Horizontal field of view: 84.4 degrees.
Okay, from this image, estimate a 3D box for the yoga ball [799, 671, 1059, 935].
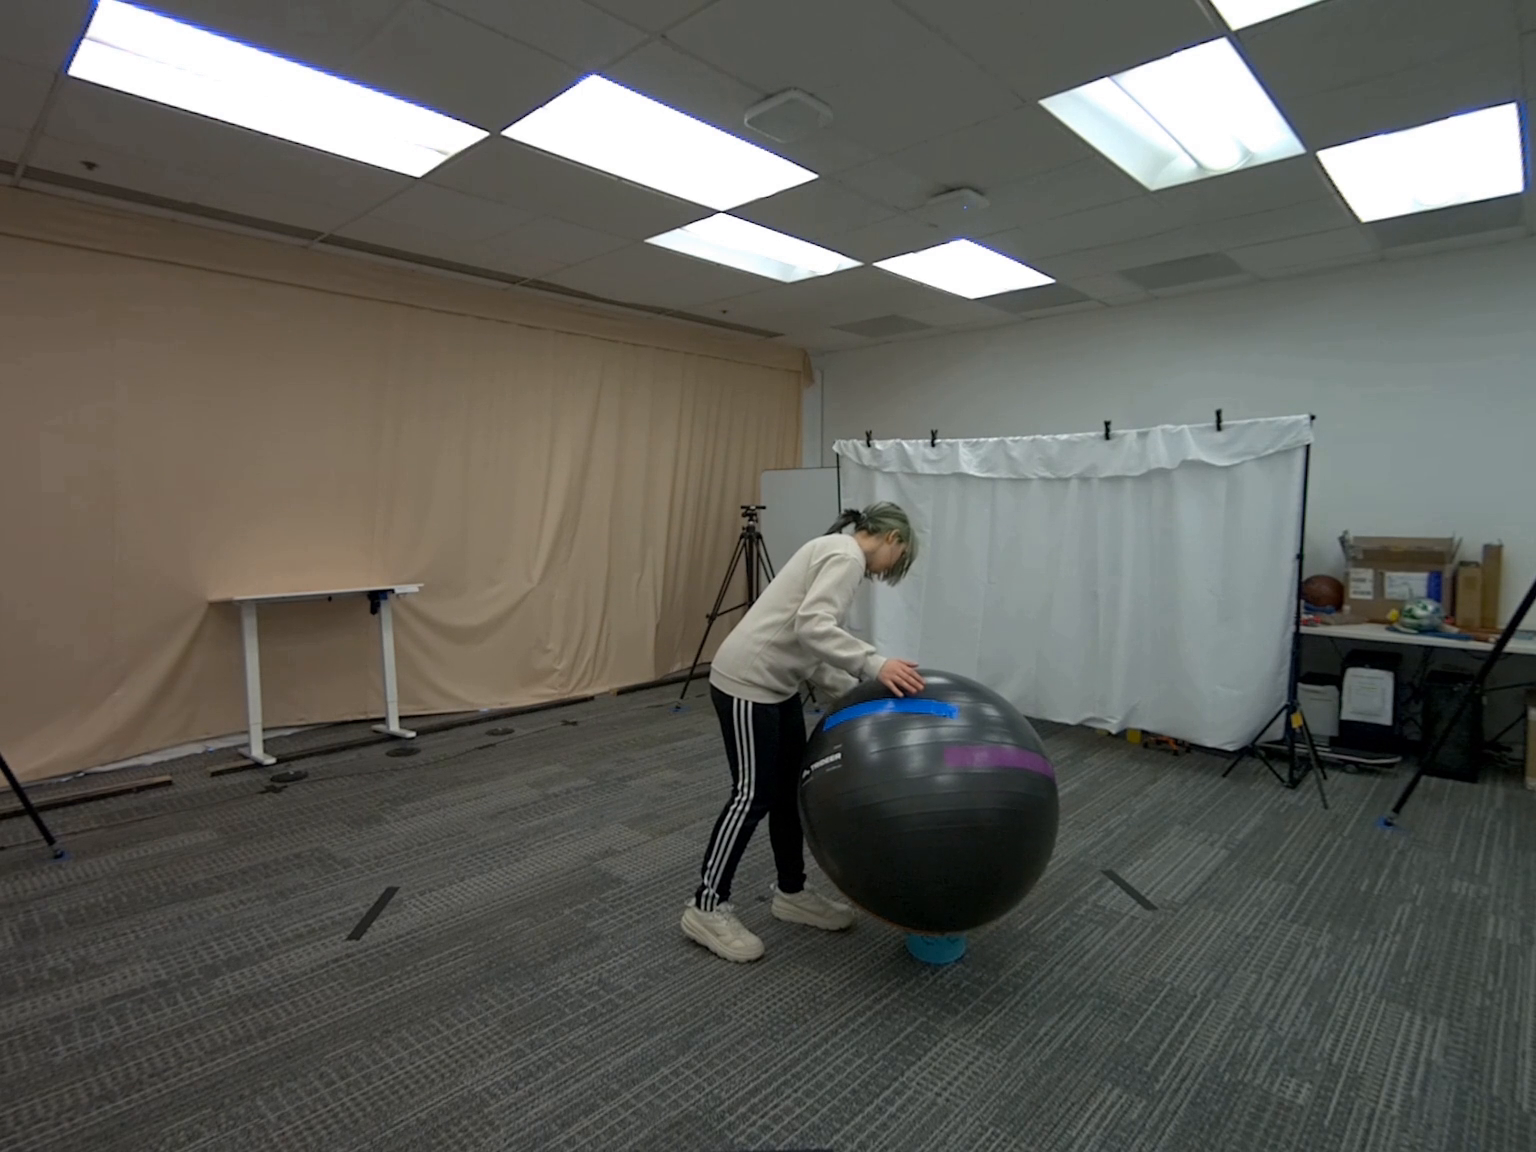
[{"bbox_3d":[0.486,0.668,2.529,0.757,0.756,0.760,0,4,-2],"label":"yoga ball"}]
